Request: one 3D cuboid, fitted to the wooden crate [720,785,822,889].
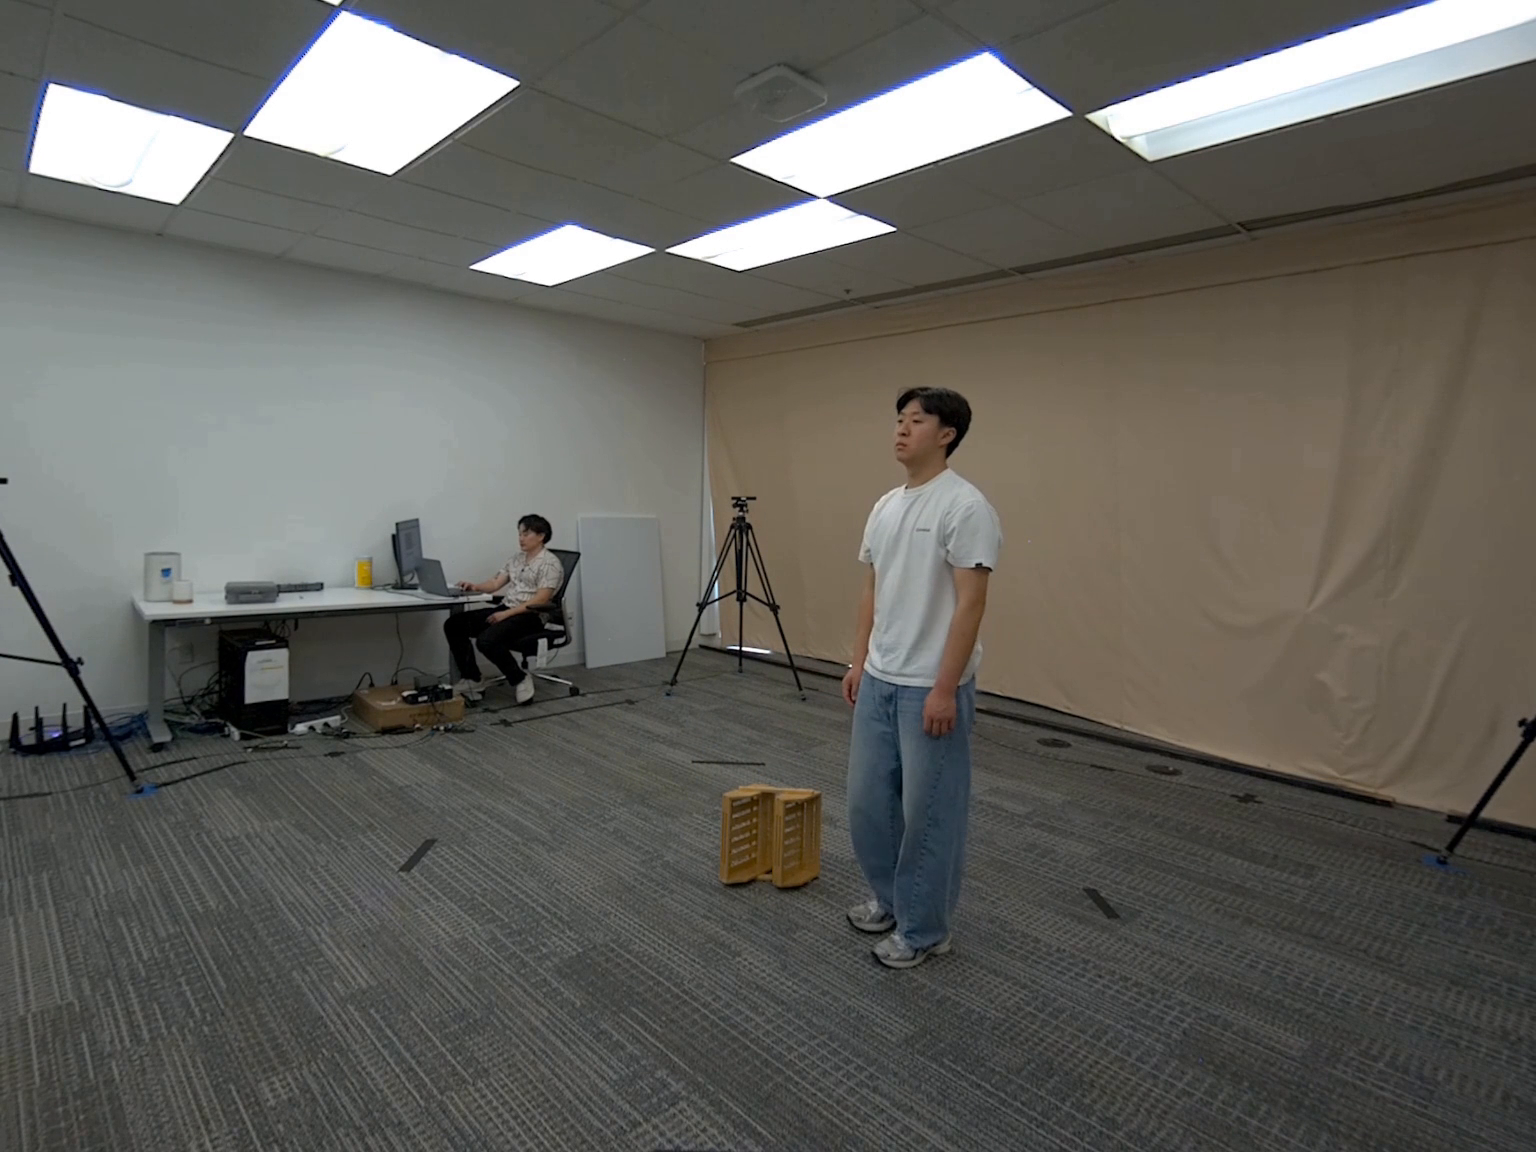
[{"bbox_3d":[0.005,0.946,3.067,0.279,0.325,0.295,0,-3,34],"label":"wooden crate"}]
